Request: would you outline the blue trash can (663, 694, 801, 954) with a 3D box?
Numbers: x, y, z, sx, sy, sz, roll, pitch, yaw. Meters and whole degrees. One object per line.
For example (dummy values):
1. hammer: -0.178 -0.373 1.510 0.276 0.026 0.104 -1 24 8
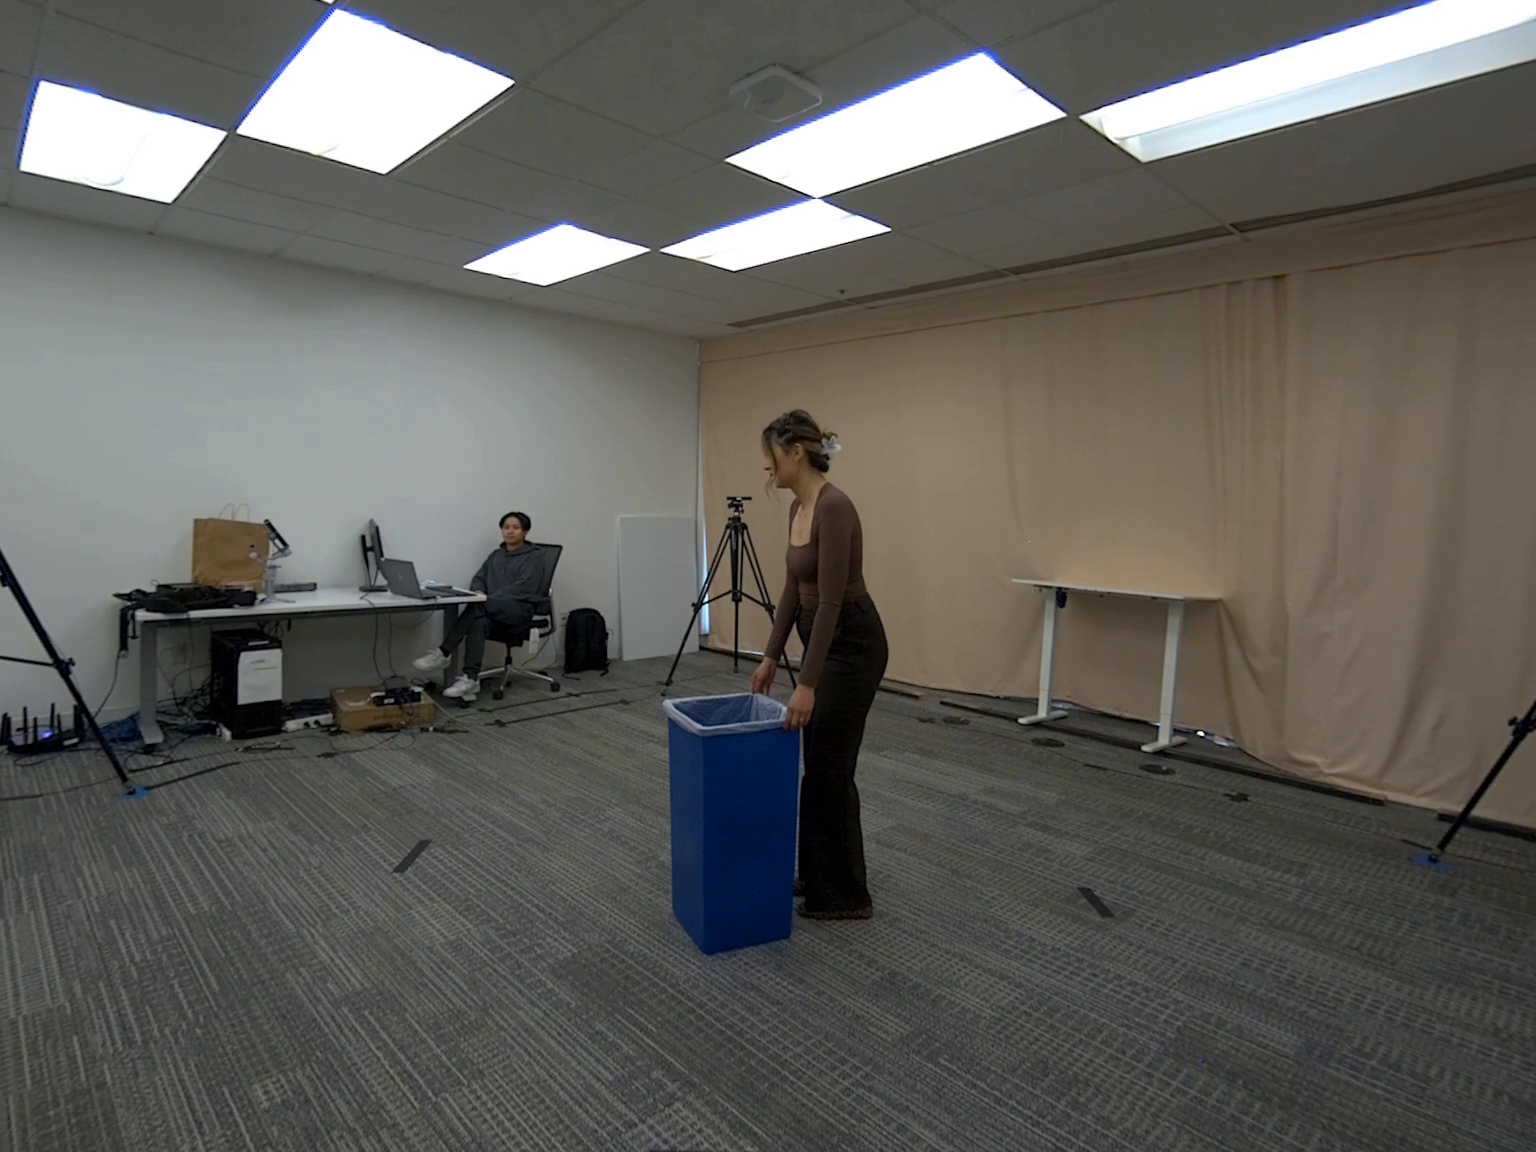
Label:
1. blue trash can: -0.127 0.782 2.725 0.367 0.712 0.386 0 3 -26
